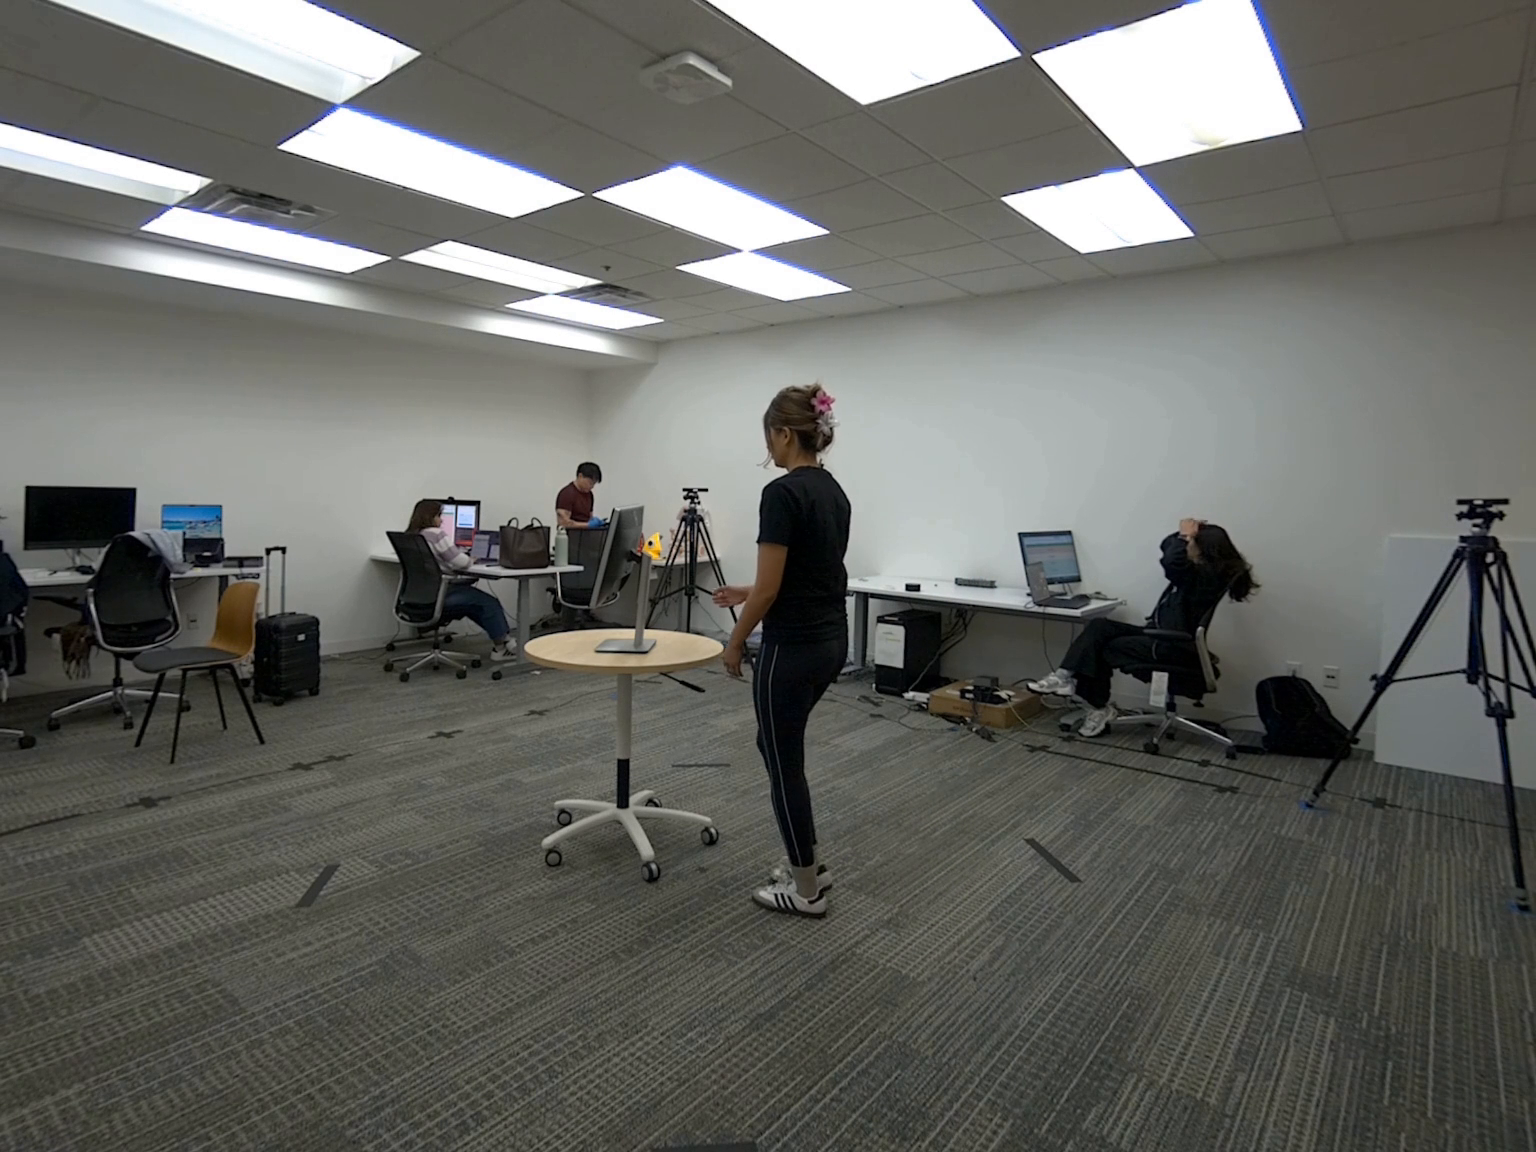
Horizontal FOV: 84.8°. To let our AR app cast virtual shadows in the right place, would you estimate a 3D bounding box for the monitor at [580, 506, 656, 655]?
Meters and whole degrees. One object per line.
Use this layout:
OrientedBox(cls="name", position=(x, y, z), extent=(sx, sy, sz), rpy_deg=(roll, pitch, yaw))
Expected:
OrientedBox(cls="monitor", position=(-0.546, 0.010, 3.245), extent=(0.187, 0.520, 0.541), rpy_deg=(1, 5, -1))
